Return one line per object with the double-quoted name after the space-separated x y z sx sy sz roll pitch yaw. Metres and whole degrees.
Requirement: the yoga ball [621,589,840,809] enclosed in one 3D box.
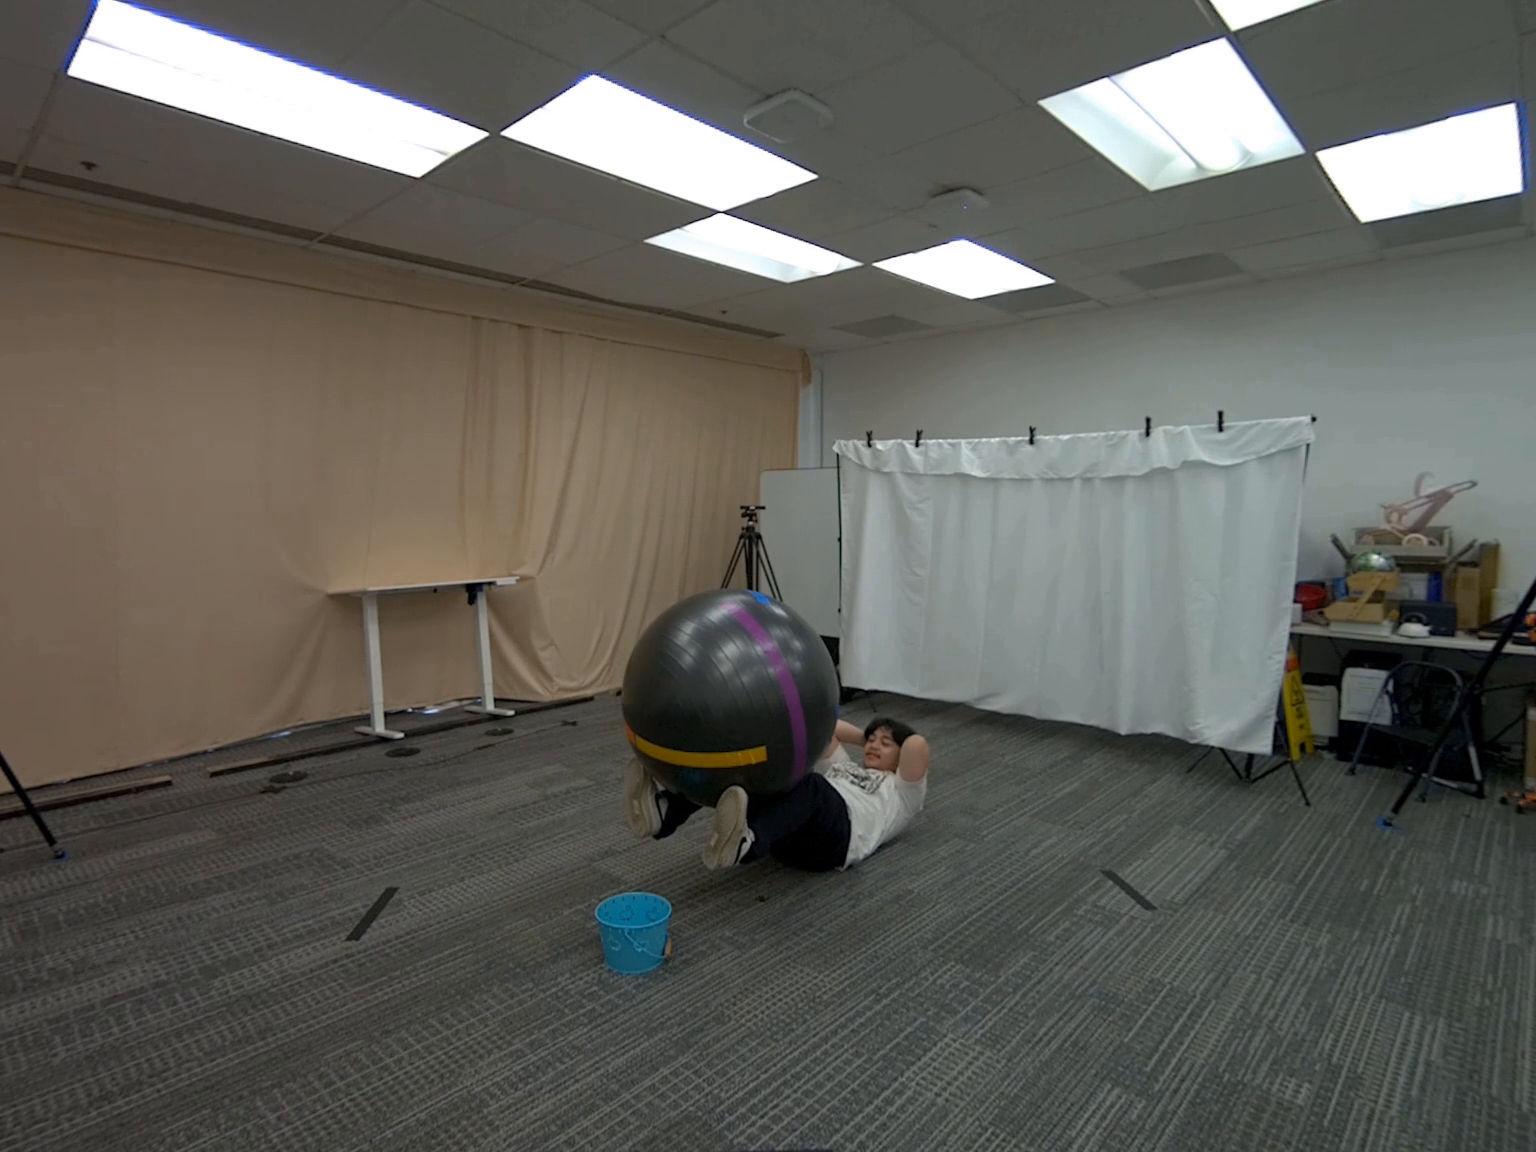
-0.130 0.424 2.951 0.757 0.756 0.760 0 4 -2 "yoga ball"
